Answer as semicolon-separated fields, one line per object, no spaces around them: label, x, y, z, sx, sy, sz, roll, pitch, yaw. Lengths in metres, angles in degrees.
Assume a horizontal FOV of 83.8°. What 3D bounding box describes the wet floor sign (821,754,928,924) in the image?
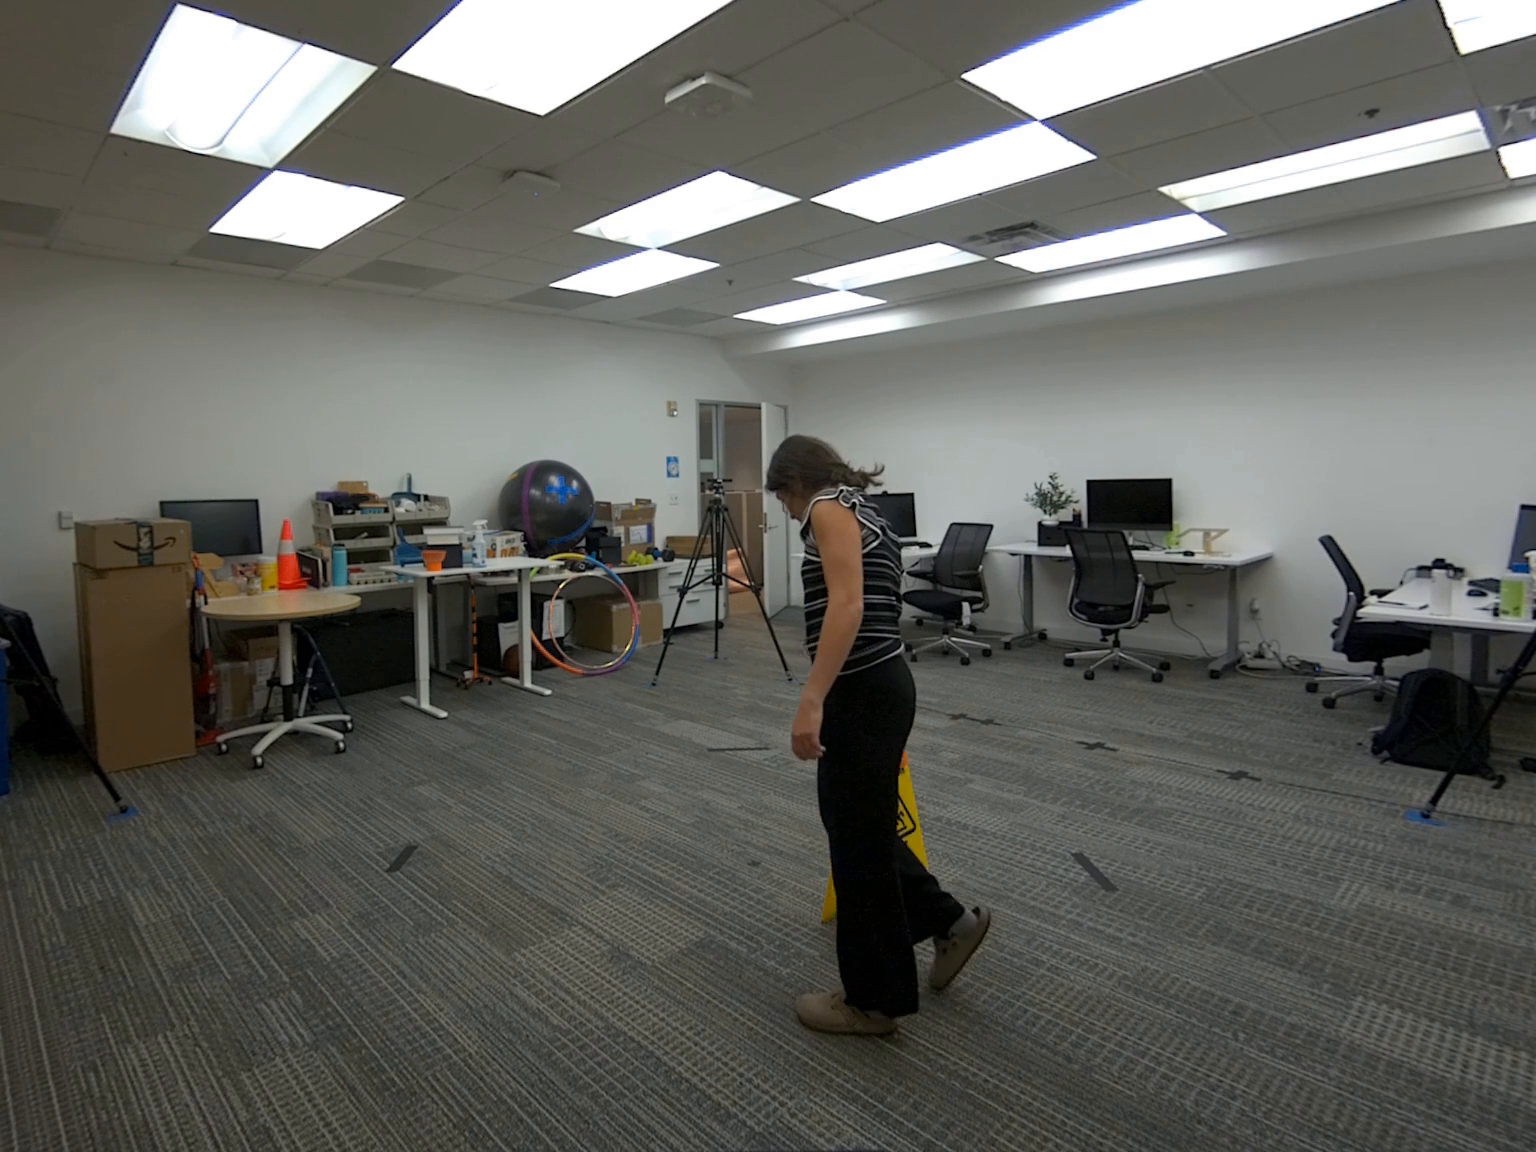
wet floor sign;0.359;0.763;2.679;0.298;0.643;0.275;4;6;40
